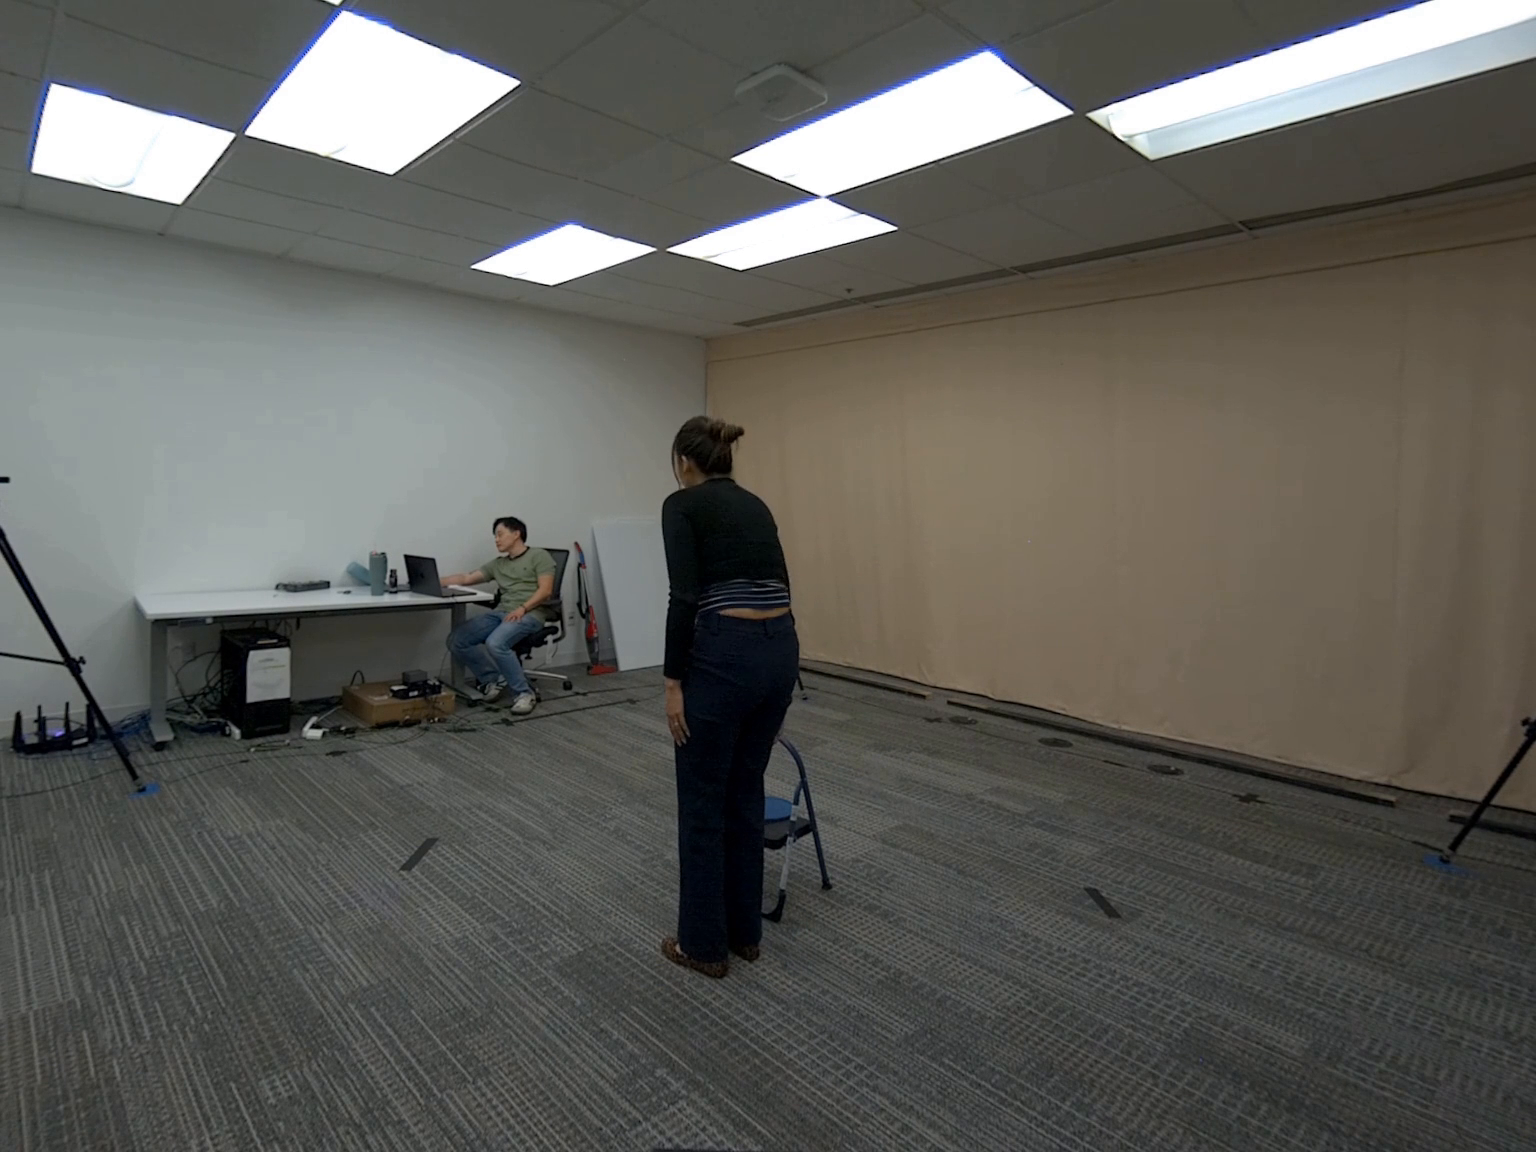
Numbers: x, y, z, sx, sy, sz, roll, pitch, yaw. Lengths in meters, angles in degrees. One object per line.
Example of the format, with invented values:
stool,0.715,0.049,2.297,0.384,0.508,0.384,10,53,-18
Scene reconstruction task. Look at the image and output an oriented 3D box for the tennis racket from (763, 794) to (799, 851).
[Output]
tennis racket,-0.023,0.852,2.970,0.215,0.032,0.430,4,3,8
